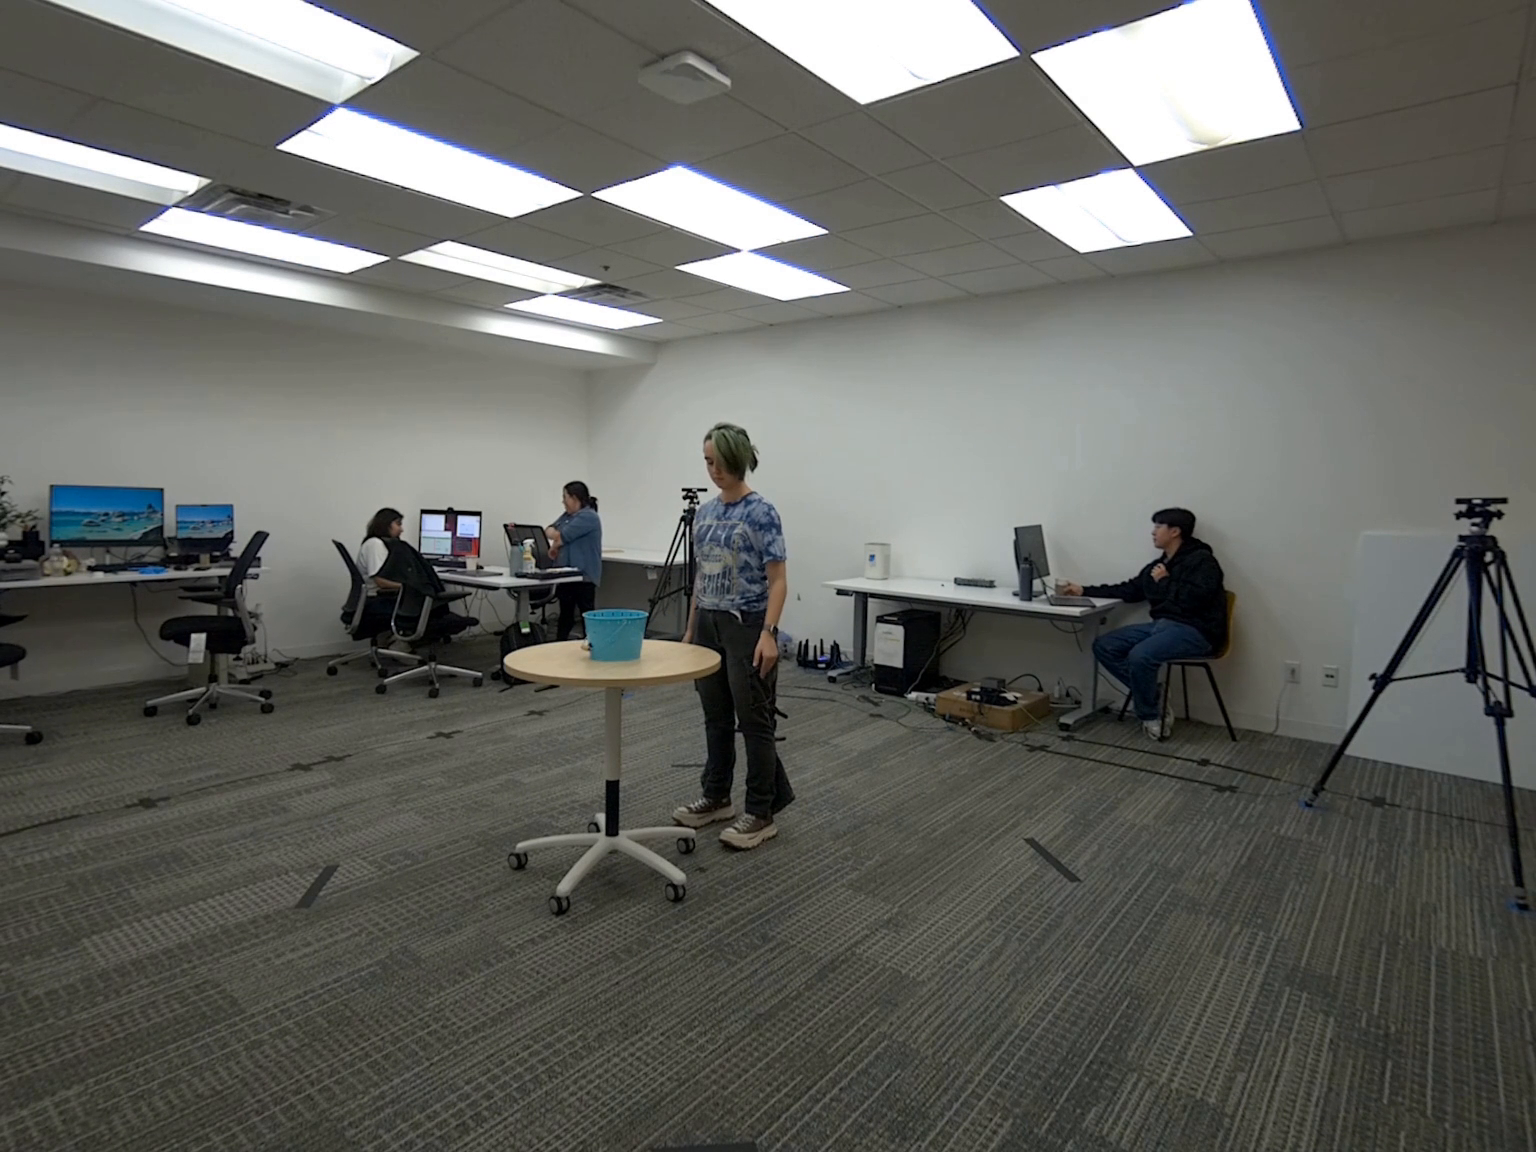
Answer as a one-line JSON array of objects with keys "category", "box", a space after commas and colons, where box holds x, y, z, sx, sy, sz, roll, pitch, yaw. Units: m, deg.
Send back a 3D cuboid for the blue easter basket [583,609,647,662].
[{"category": "blue easter basket", "box": [-0.568, 0.214, 3.038, 0.243, 0.155, 0.245, 1, 4, -2]}]
